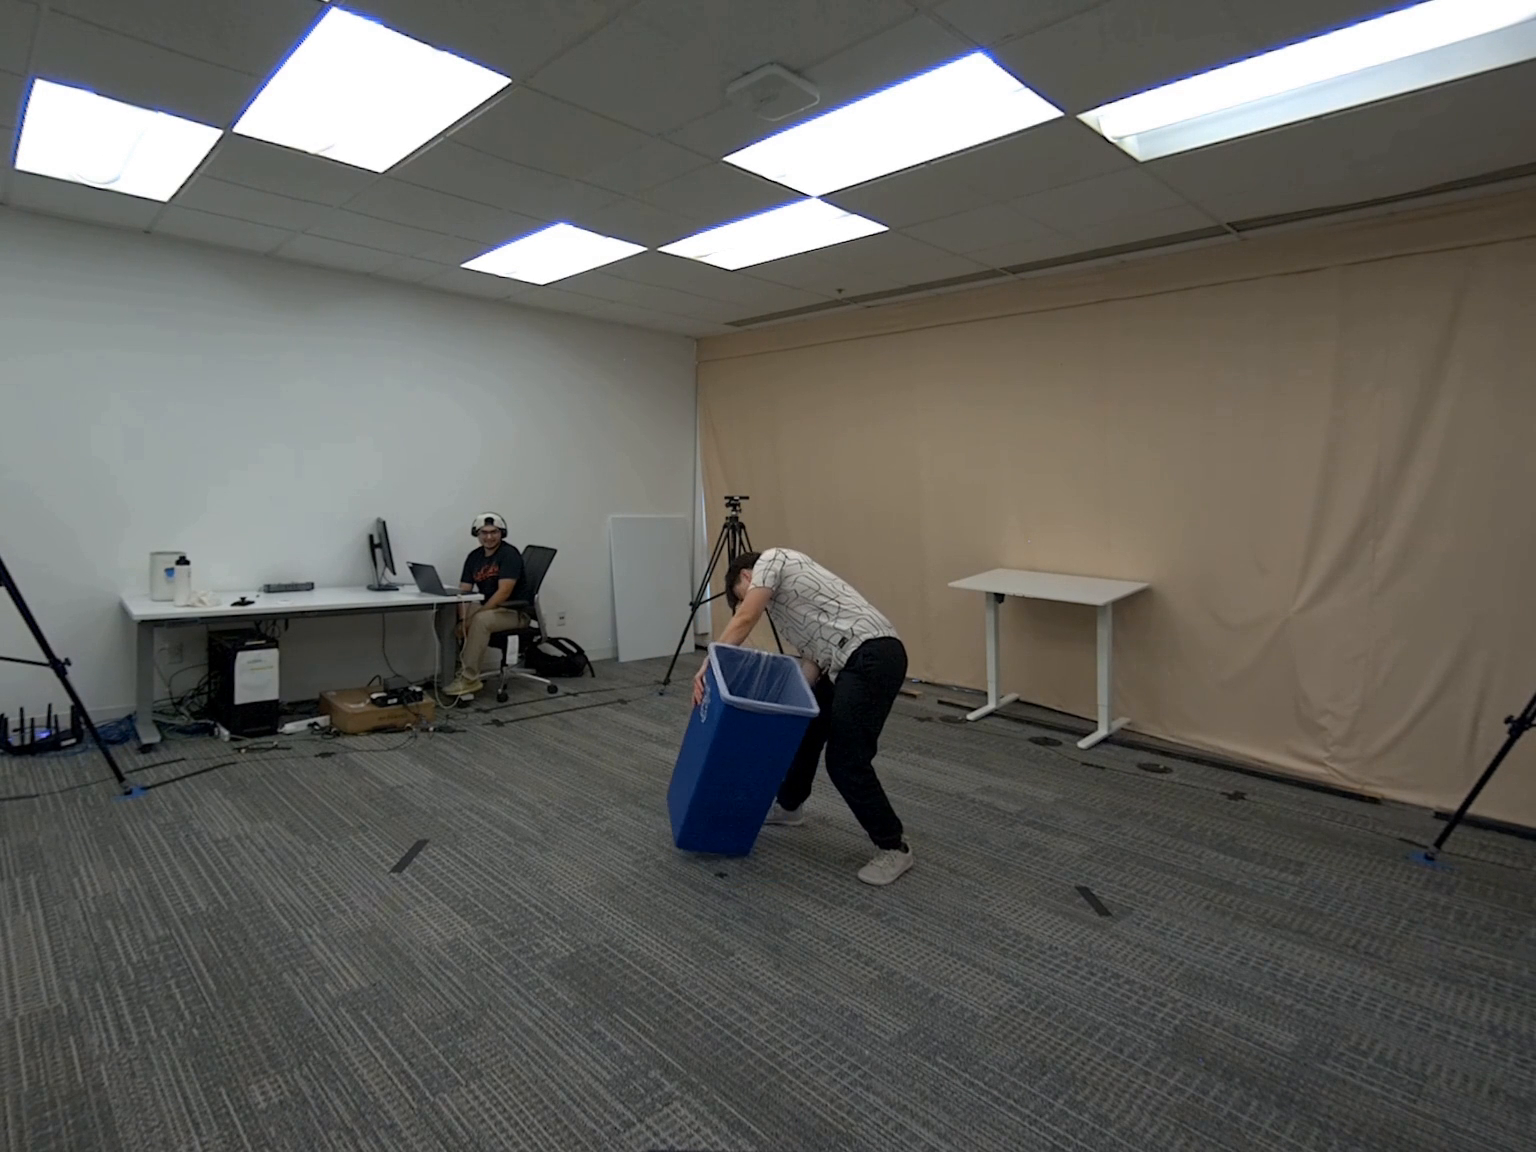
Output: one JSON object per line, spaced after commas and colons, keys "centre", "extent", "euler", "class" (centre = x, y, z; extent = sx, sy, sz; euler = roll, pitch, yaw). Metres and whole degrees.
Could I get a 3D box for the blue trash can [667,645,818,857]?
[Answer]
{"centre": [-0.146, 0.676, 3.191], "extent": [0.368, 0.707, 0.388], "euler": [12, 23, -20], "class": "blue trash can"}
